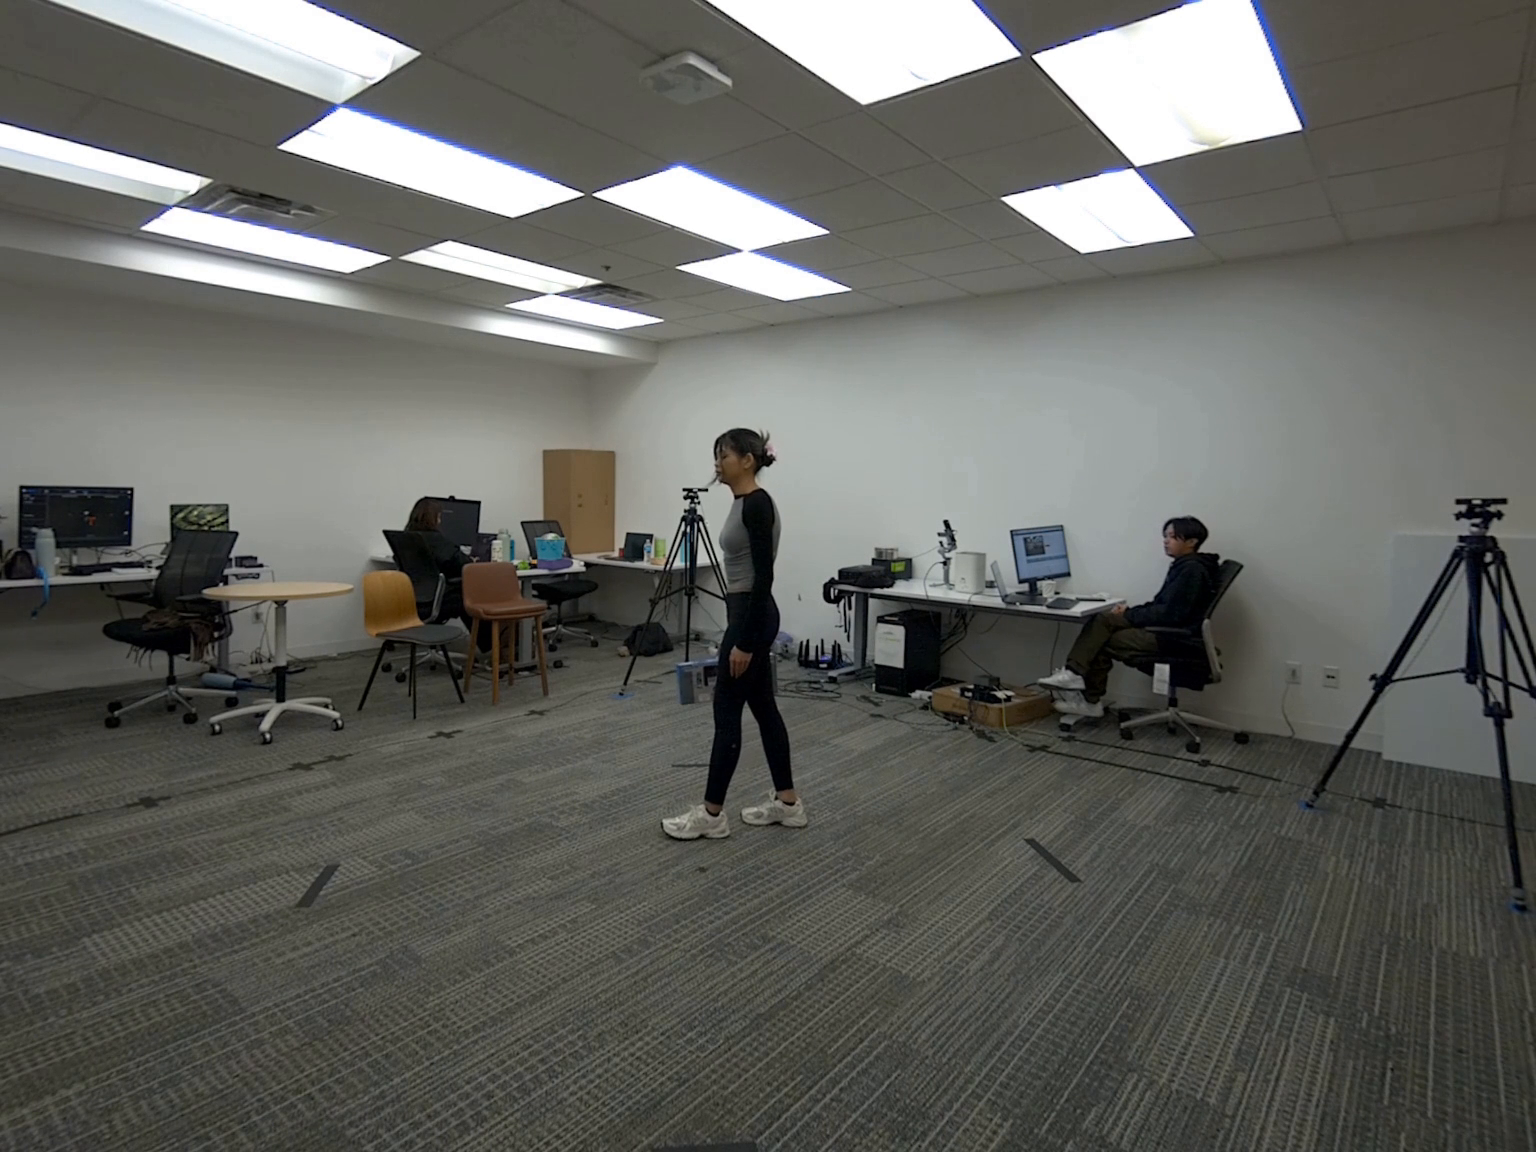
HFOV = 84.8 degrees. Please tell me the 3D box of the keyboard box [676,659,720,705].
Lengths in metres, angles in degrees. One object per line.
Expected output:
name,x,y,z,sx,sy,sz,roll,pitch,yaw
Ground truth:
keyboard box,-0.184,0.434,3.689,0.430,0.175,0.060,-6,3,-17
